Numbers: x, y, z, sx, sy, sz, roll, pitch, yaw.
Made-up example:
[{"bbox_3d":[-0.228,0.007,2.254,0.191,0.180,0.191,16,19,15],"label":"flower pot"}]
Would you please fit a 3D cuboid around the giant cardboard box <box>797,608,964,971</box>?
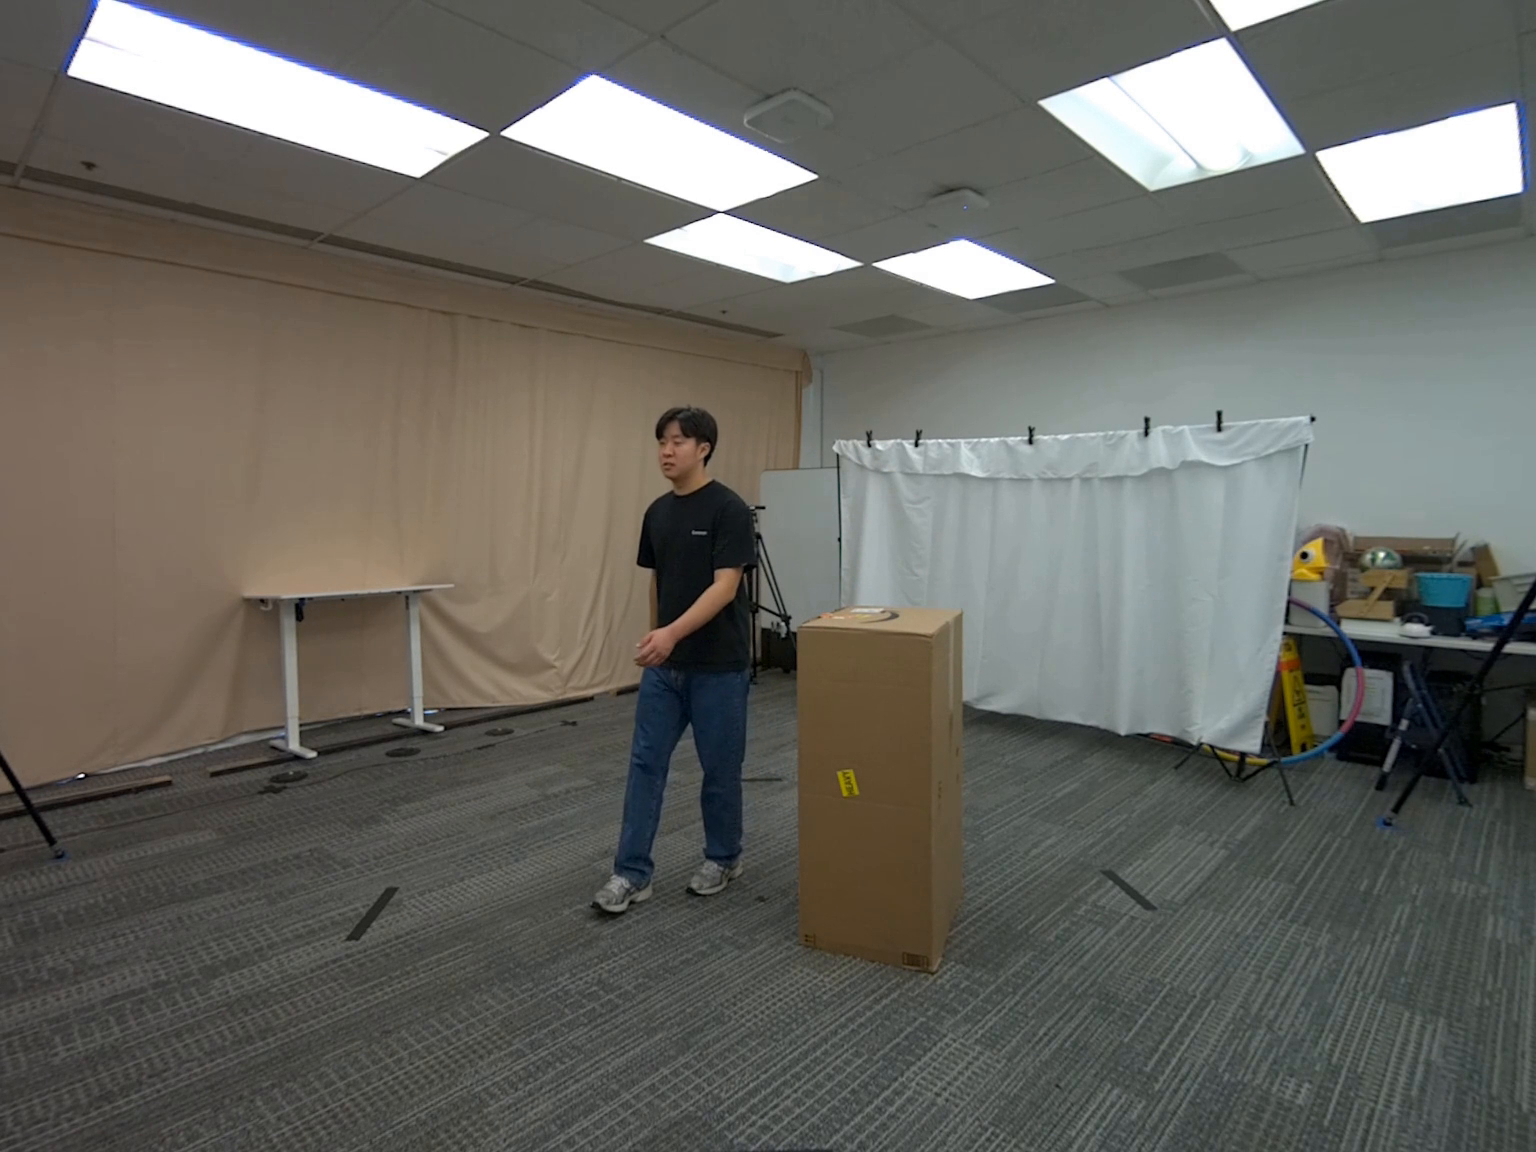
[{"bbox_3d":[0.397,0.645,2.813,0.458,1.025,0.570,0,3,25],"label":"giant cardboard box"}]
